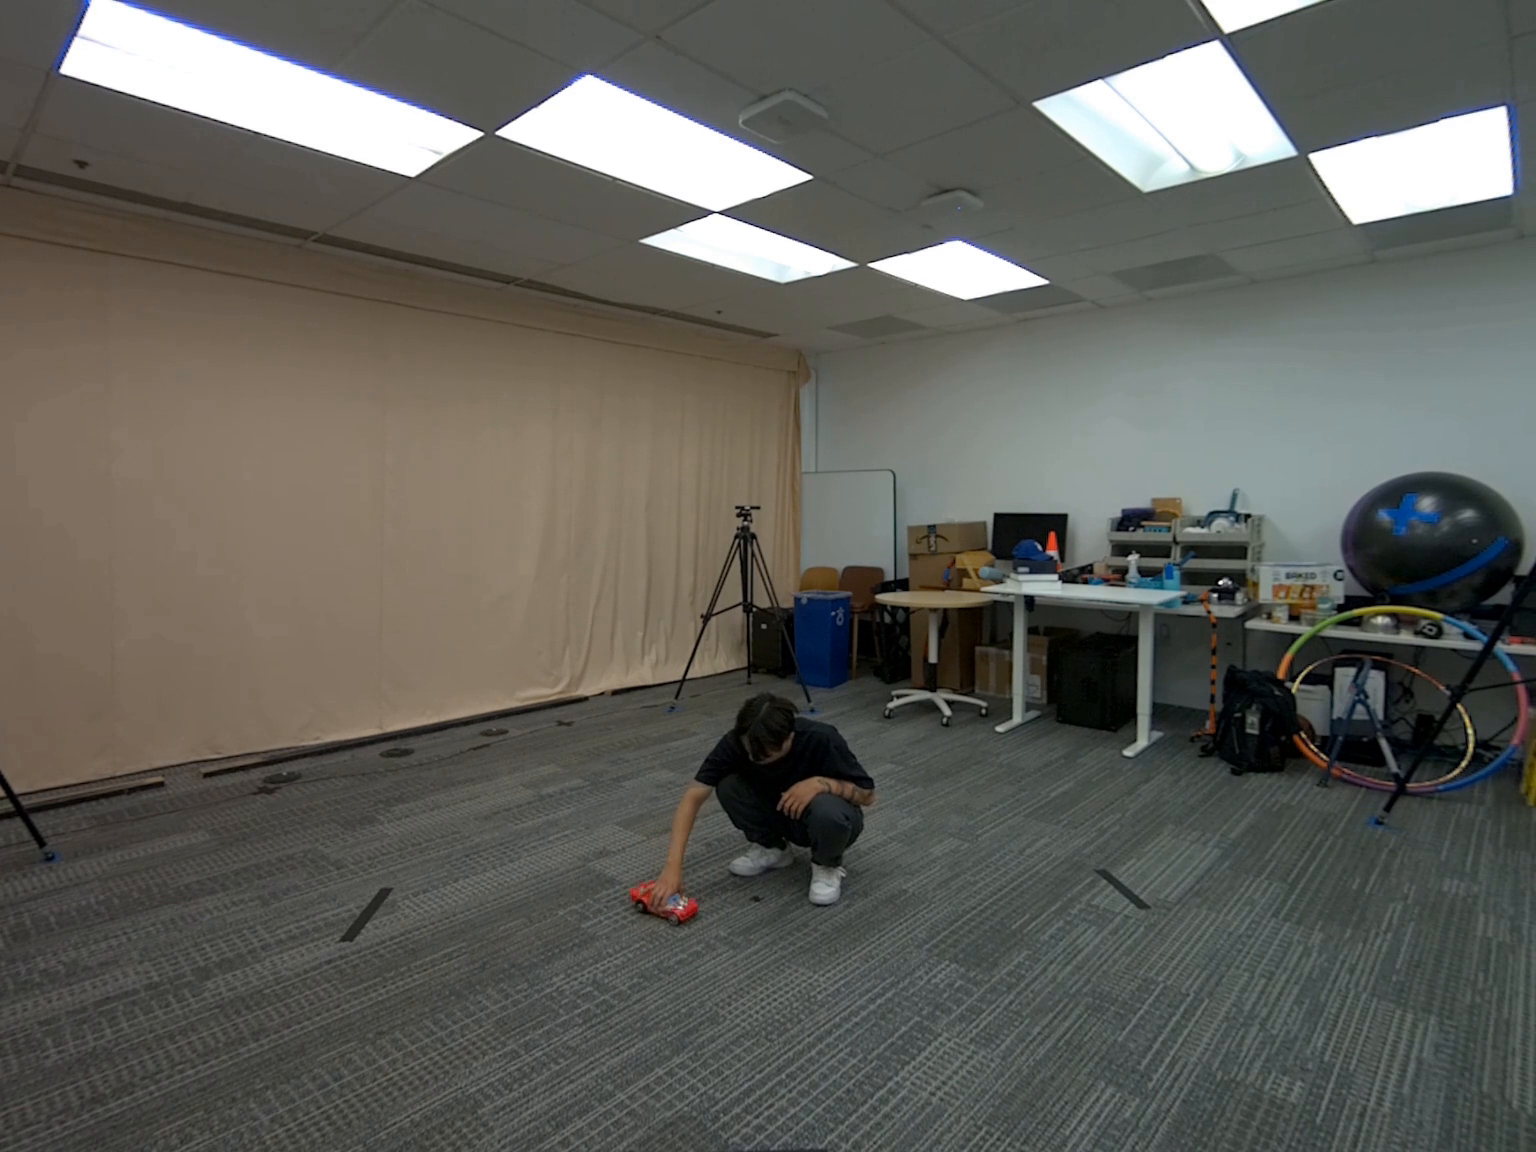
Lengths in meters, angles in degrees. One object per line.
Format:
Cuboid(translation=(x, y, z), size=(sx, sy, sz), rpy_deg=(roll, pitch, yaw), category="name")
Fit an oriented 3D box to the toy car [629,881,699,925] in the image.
Cuboid(translation=(-0.364, 1.124, 2.904), size=(0.263, 0.083, 0.126), rpy_deg=(15, 12, 35), category="toy car")
